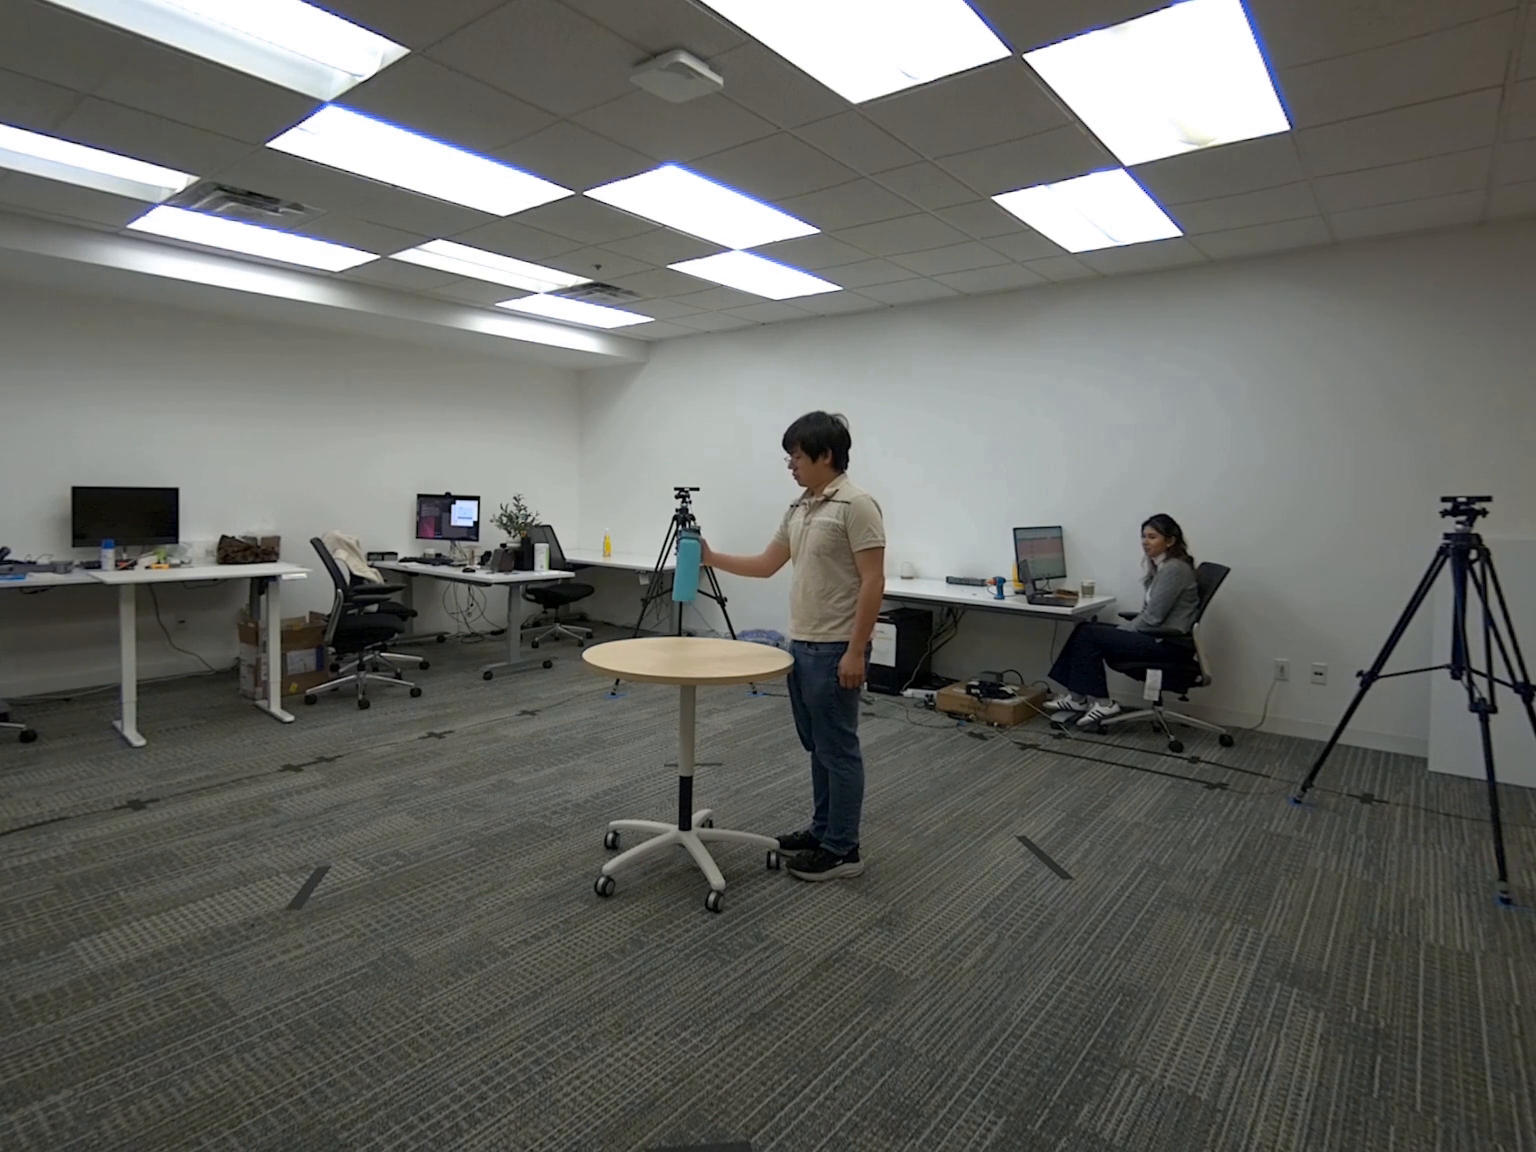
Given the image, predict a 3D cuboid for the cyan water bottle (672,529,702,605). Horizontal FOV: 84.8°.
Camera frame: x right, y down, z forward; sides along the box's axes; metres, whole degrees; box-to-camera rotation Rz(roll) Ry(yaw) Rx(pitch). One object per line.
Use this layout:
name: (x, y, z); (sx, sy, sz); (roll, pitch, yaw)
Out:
cyan water bottle: (-0.302, -0.035, 3.145); (0.092, 0.284, 0.092); (5, -4, -2)
